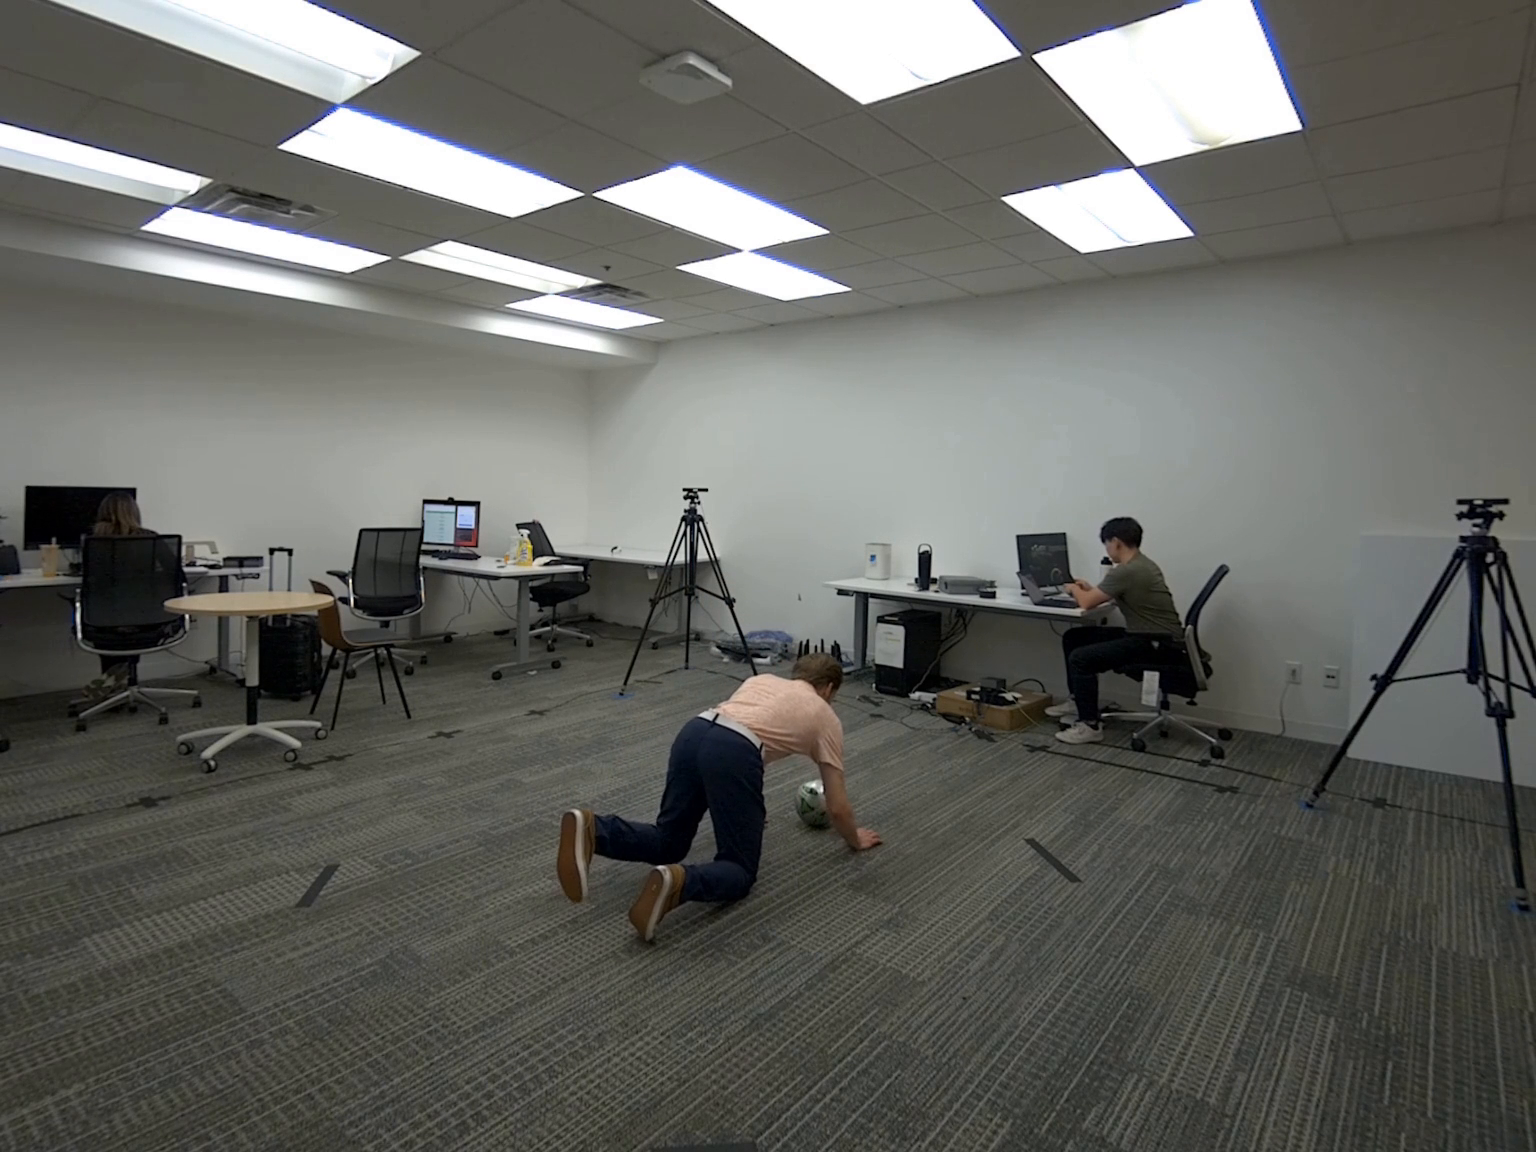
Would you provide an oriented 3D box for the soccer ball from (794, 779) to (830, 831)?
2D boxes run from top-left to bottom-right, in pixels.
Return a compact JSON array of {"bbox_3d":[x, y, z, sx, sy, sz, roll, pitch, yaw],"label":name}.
[{"bbox_3d":[0.201,0.944,3.550,0.187,0.187,0.188,1,4,-2],"label":"soccer ball"}]
